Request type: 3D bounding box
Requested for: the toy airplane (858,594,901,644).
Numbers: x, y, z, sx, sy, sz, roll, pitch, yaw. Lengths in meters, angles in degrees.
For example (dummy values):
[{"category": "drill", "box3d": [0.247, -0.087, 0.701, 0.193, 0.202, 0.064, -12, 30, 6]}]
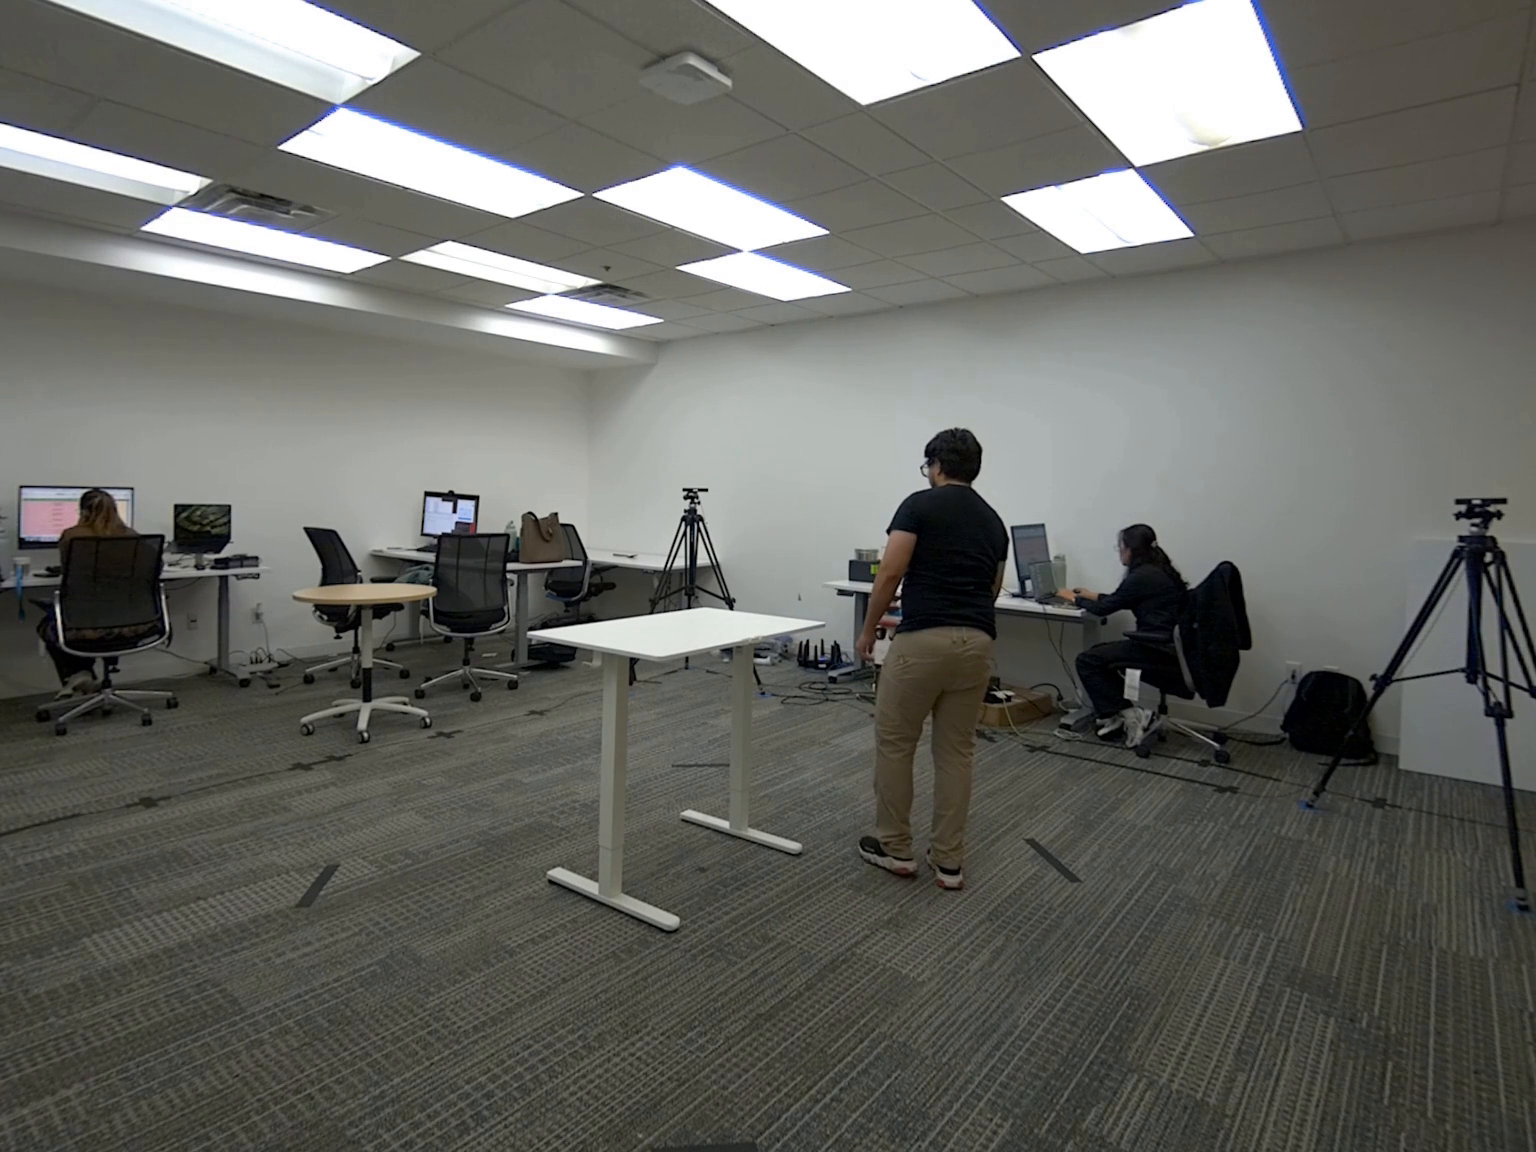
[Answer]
[{"category": "toy airplane", "box3d": [0.550, 0.180, 3.541, 0.265, 0.159, 0.242, -7, -16, 29]}]
